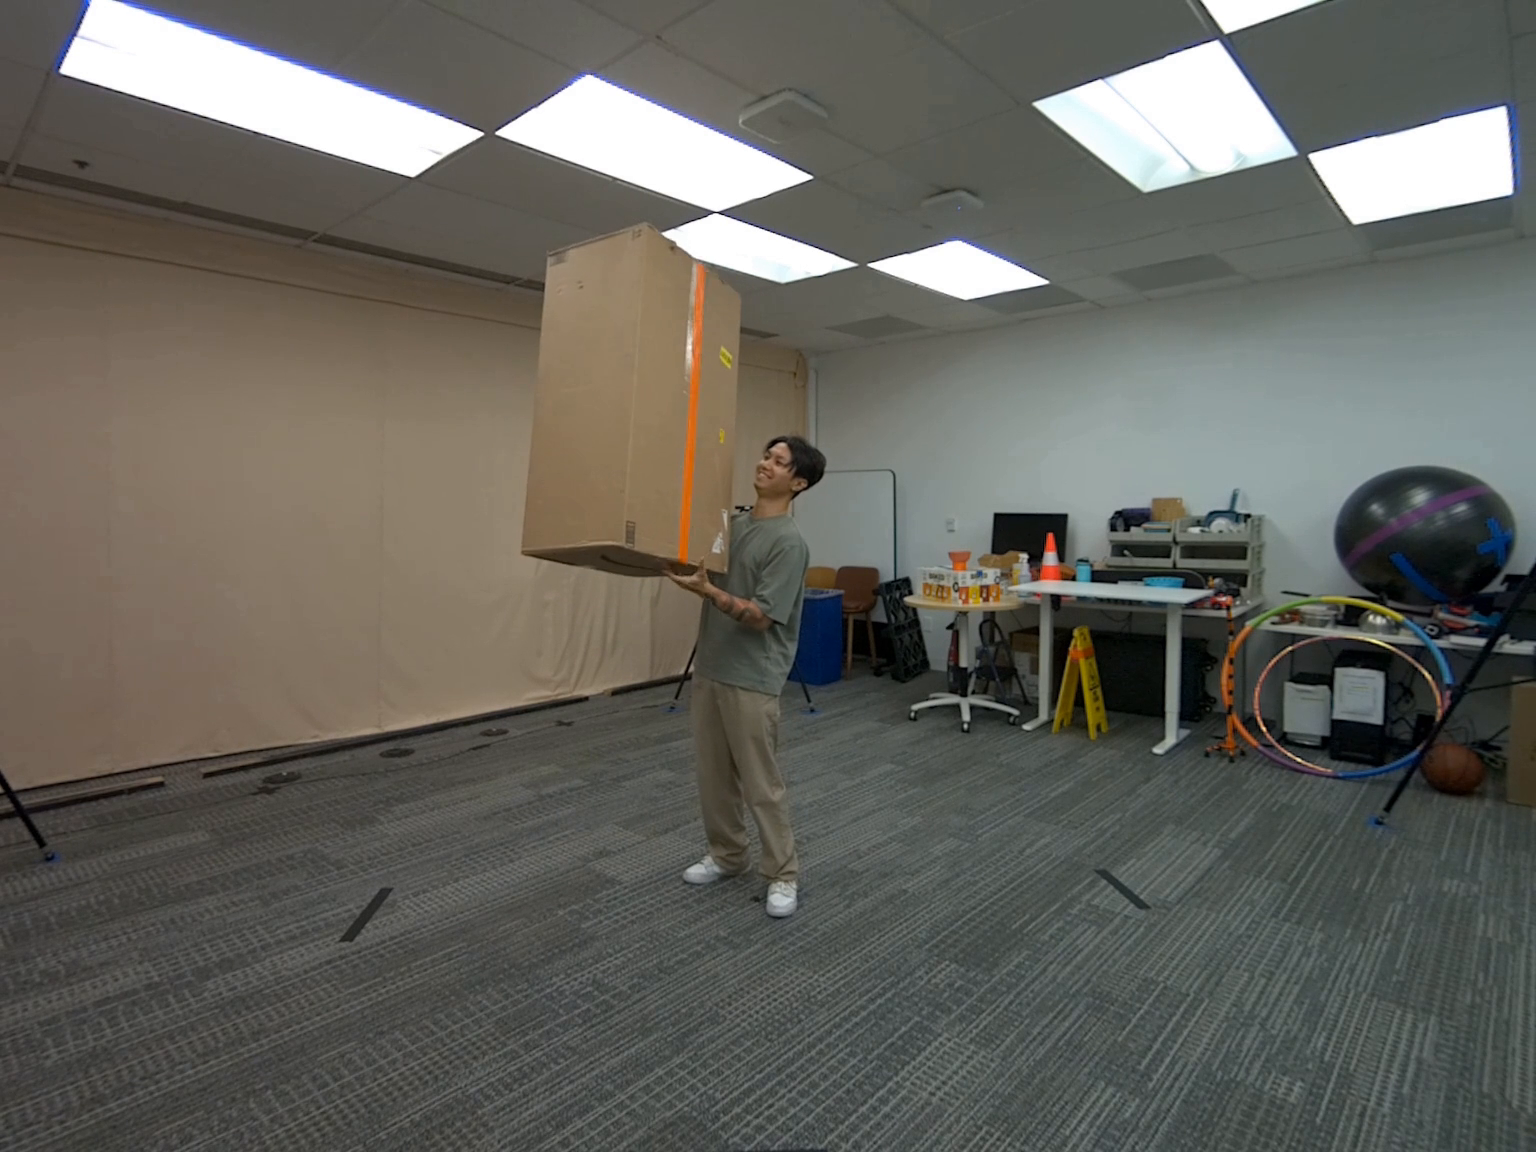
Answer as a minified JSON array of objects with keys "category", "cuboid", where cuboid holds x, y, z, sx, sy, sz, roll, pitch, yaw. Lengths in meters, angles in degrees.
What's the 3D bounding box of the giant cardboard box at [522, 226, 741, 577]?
[{"category":"giant cardboard box","cuboid":[-0.435,-0.527,2.848,0.438,1.031,0.558,-3,-11,31]}]
